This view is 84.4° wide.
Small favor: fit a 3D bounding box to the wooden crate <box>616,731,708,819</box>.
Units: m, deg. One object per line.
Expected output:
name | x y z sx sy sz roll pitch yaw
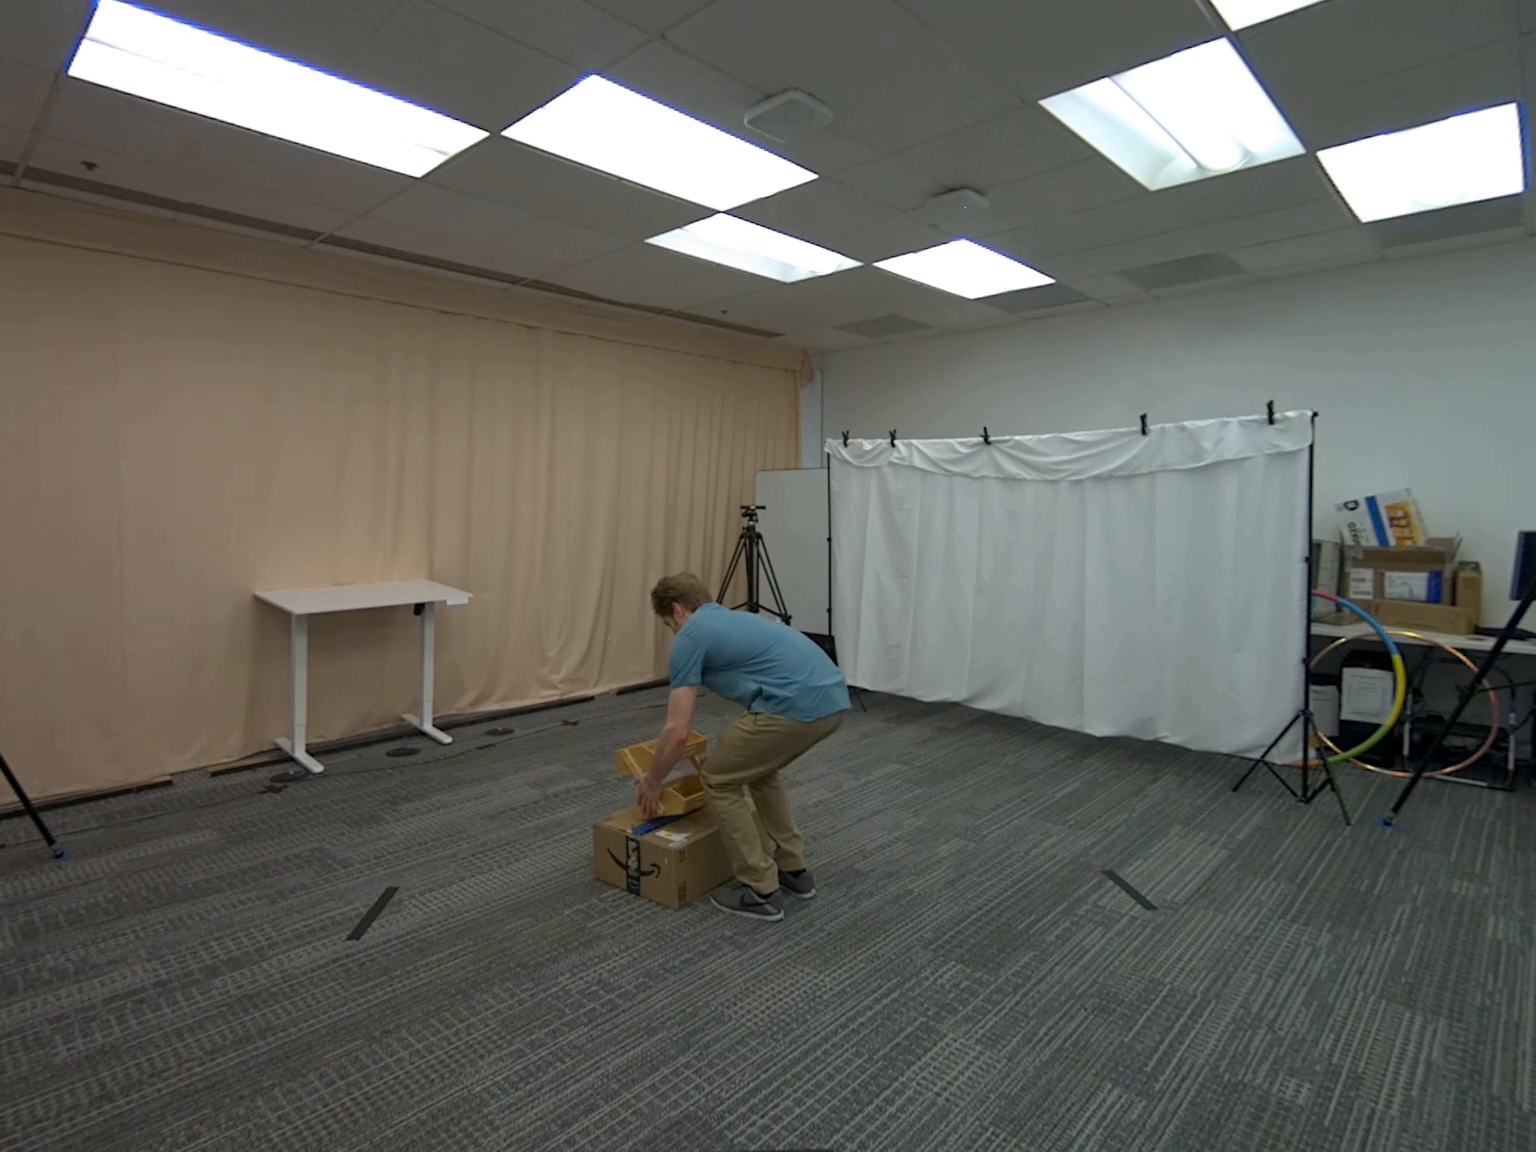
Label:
wooden crate | -0.350 0.740 3.220 0.309 0.275 0.315 -18 -9 36
